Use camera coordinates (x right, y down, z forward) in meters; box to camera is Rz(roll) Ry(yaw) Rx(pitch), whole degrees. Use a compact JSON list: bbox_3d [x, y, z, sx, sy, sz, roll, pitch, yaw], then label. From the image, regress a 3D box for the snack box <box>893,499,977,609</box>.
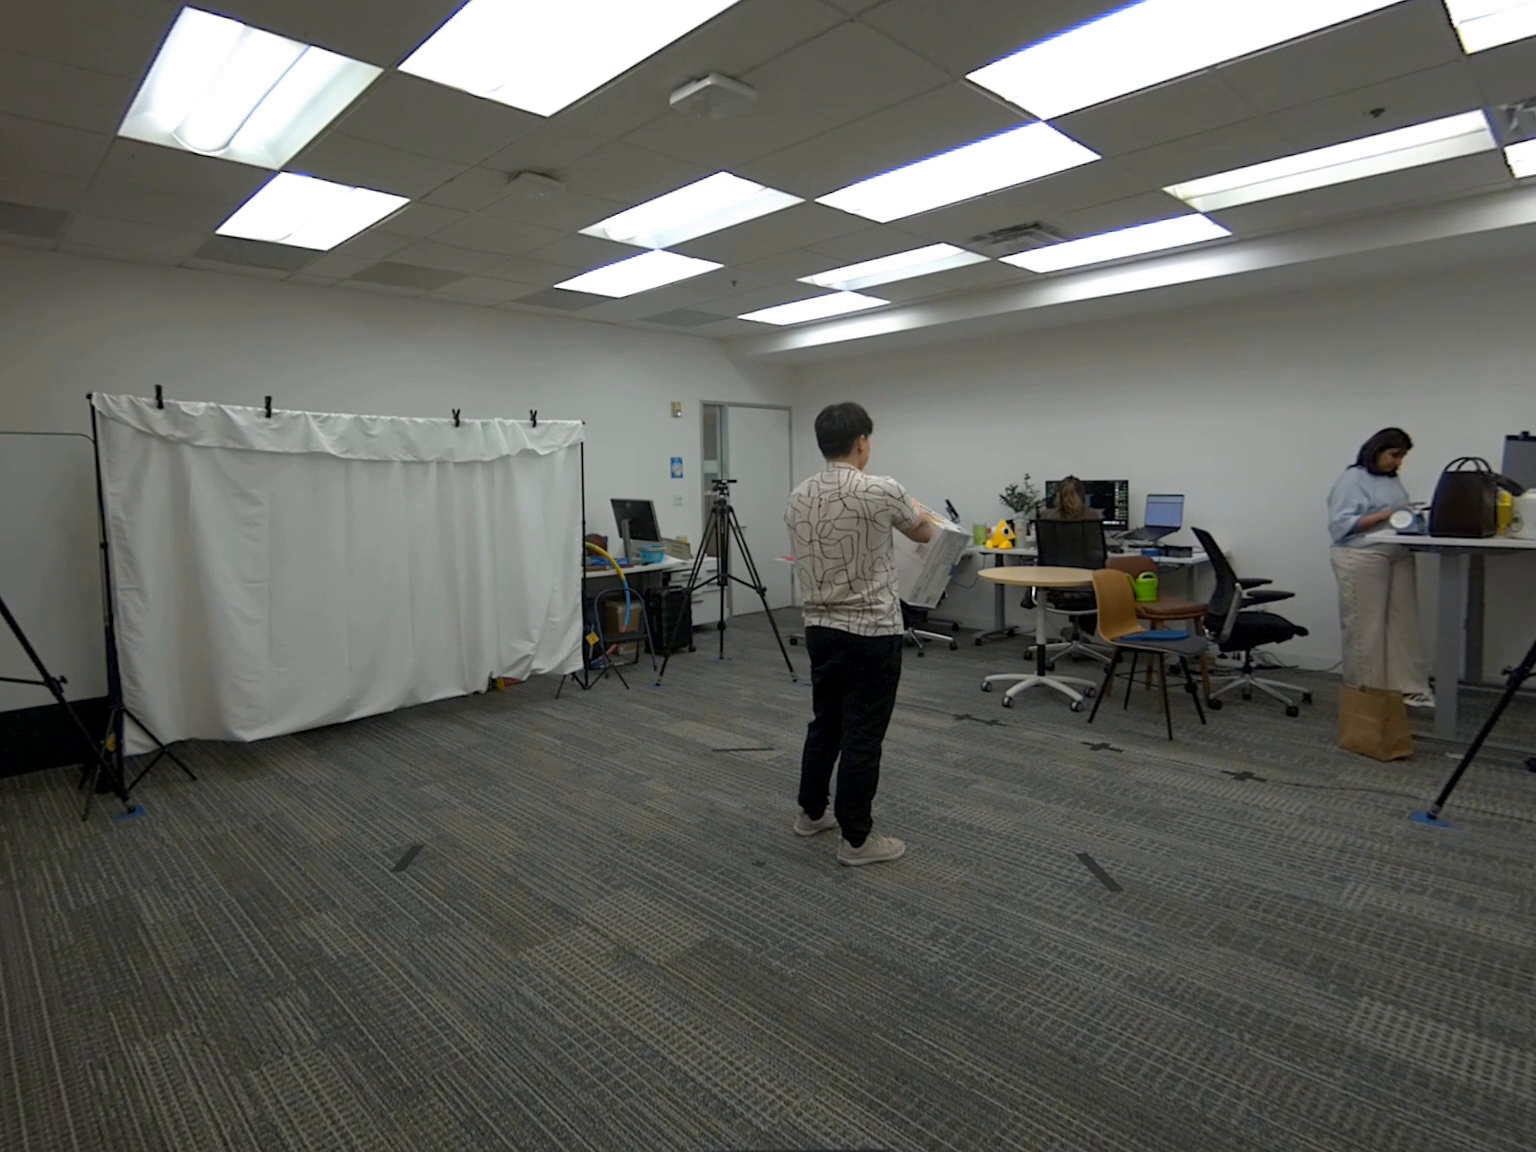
[{"bbox_3d":[0.570,-0.124,3.533,0.199,0.338,0.421,9,21,-43],"label":"snack box"}]
